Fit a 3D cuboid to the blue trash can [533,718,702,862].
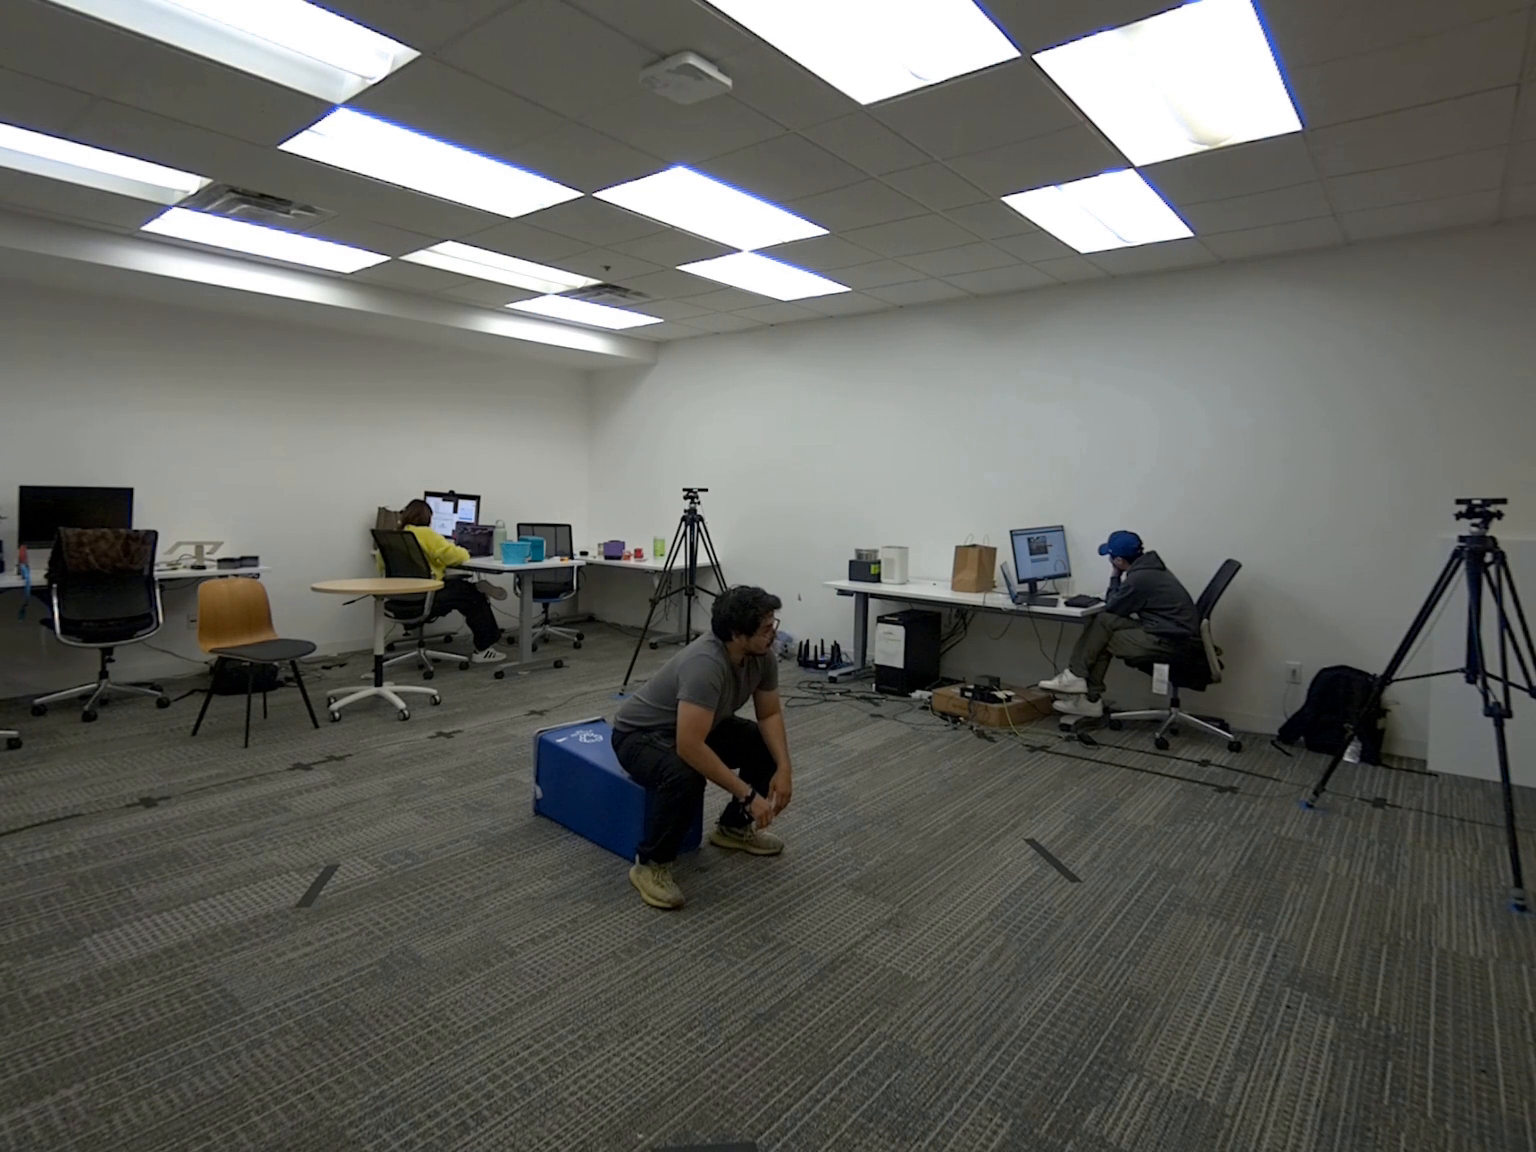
[{"bbox_3d":[-0.626,0.853,3.455,0.739,0.372,0.366,8,8,44],"label":"blue trash can"}]
